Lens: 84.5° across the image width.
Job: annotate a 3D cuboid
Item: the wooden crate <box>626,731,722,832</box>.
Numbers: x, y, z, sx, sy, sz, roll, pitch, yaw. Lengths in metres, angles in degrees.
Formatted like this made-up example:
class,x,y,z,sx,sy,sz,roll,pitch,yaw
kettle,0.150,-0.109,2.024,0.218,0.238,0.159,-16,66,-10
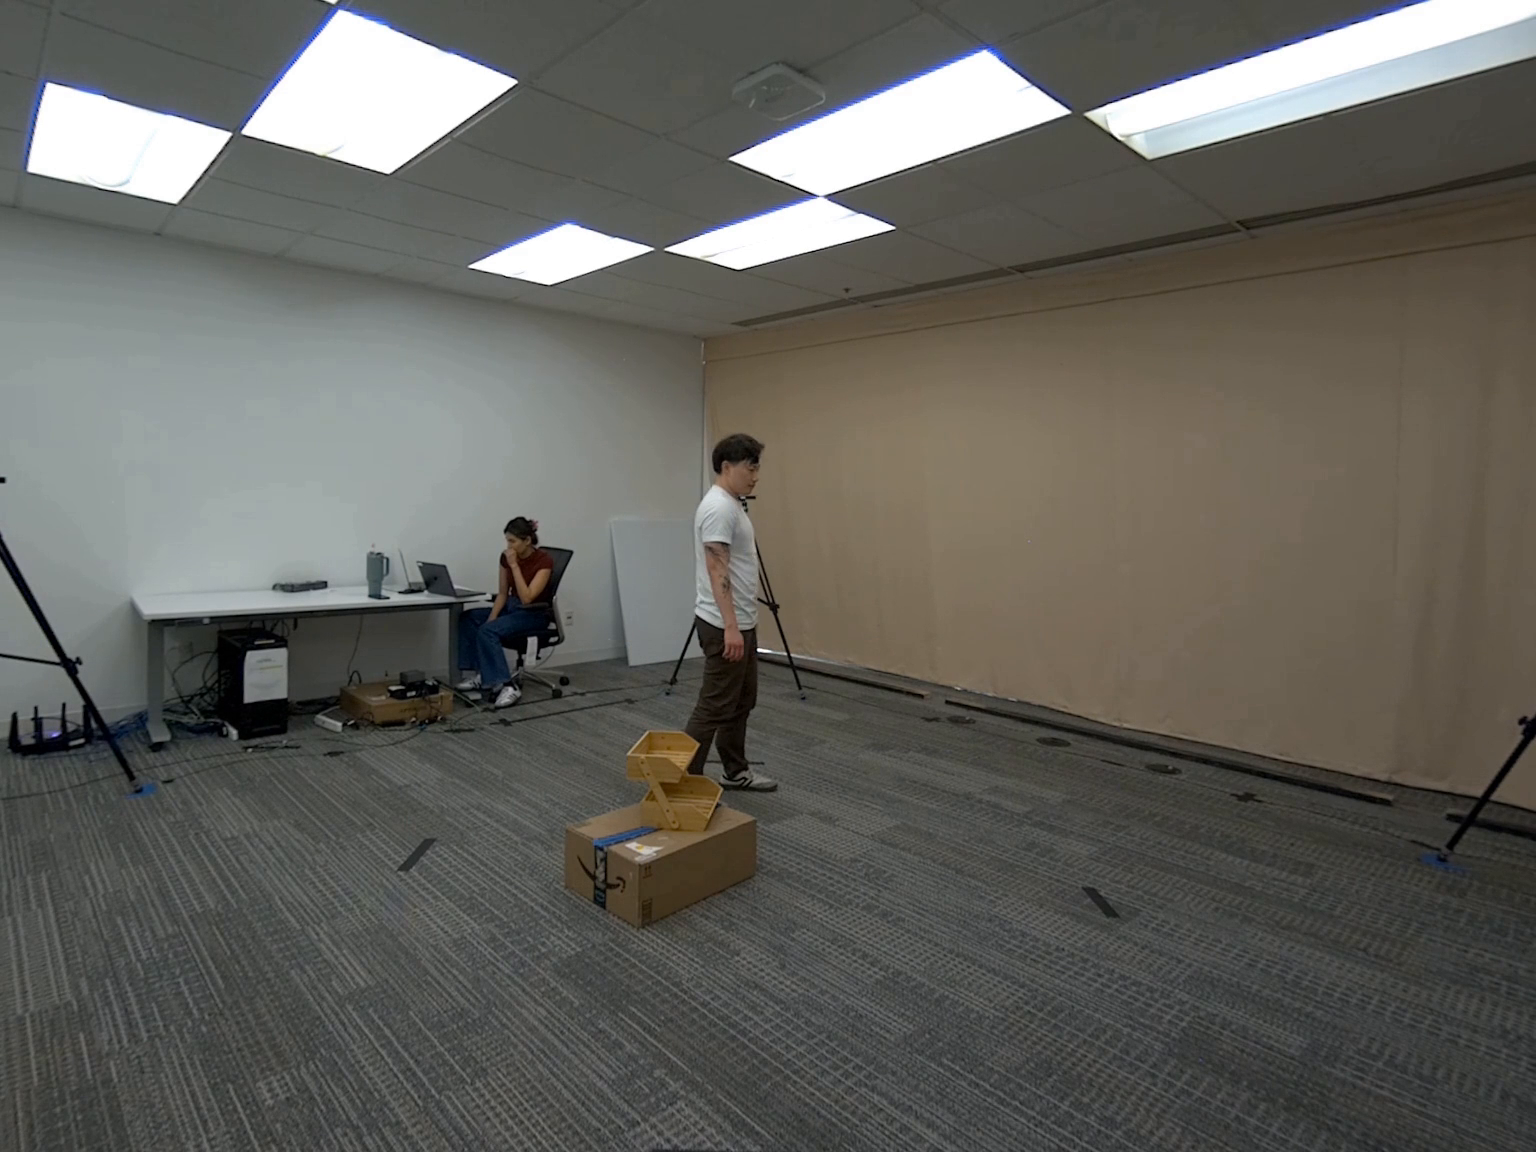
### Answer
class,x,y,z,sx,sy,sz,roll,pitch,yaw
wooden crate,-0.345,0.747,3.121,0.304,0.272,0.323,1,5,8
